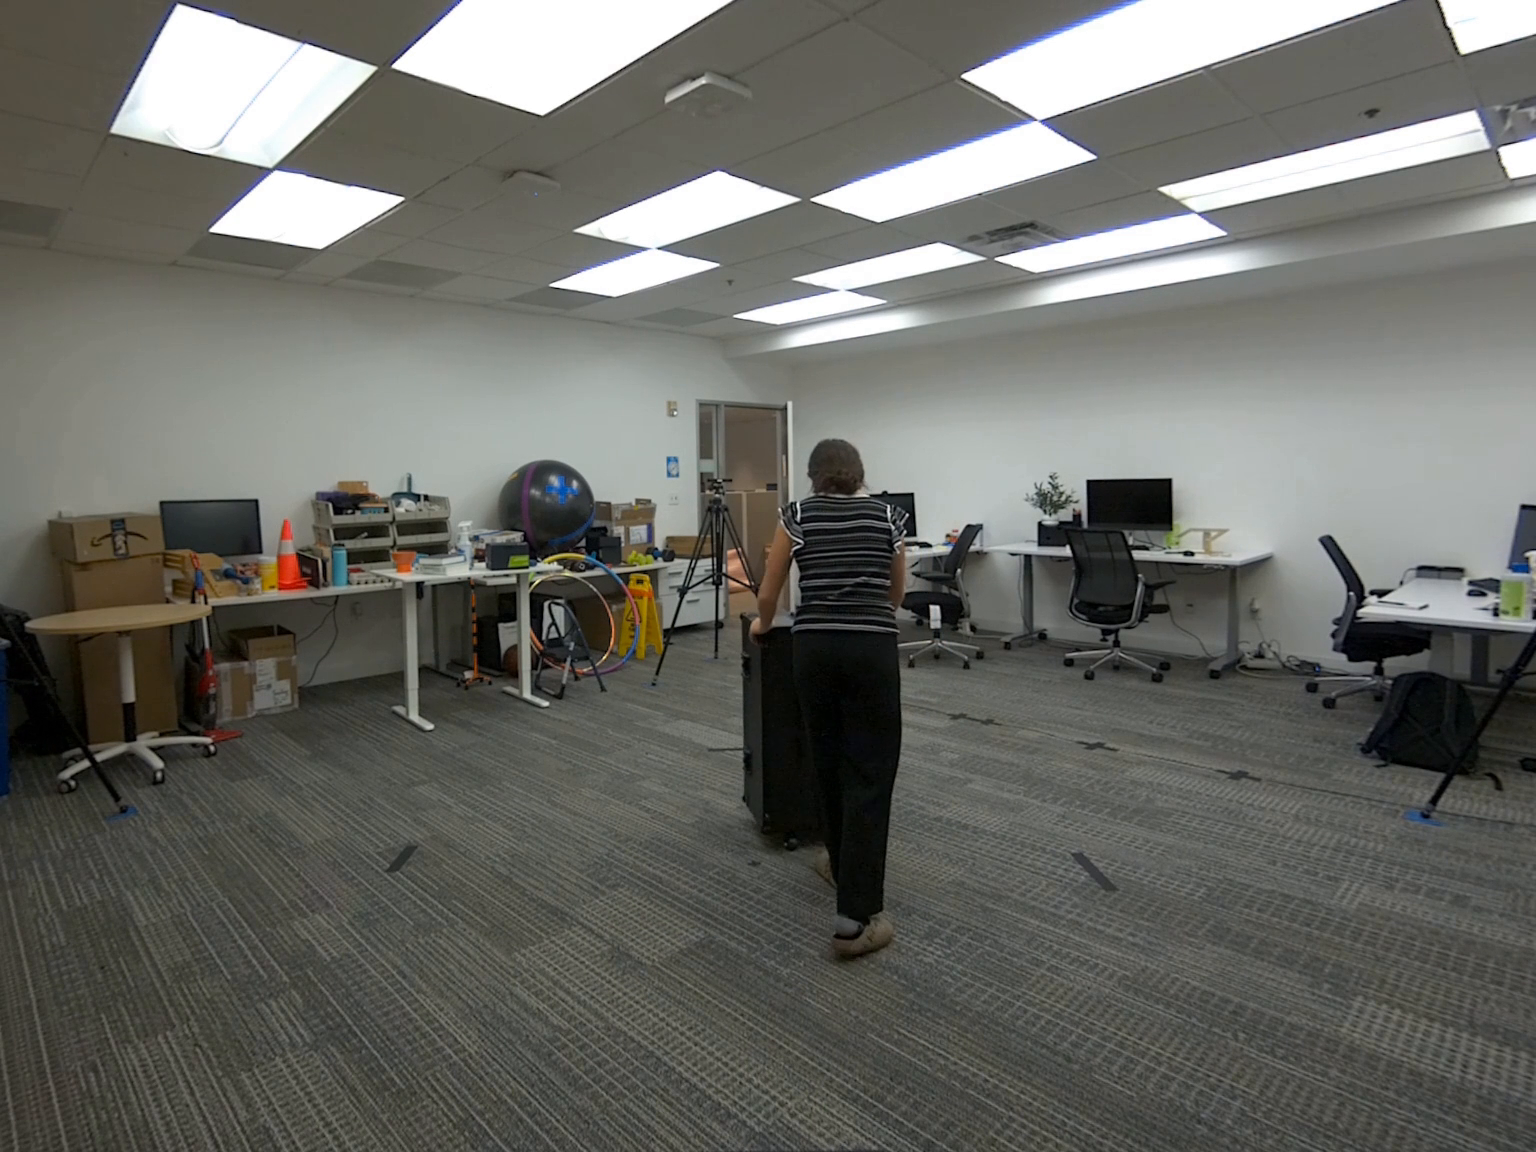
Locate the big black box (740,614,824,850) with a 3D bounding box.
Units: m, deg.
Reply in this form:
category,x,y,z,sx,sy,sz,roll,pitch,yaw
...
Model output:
category,x,y,z,sx,sy,sz,roll,pitch,yaw
big black box,0.176,0.588,3.361,0.516,0.858,0.402,-1,4,-11
